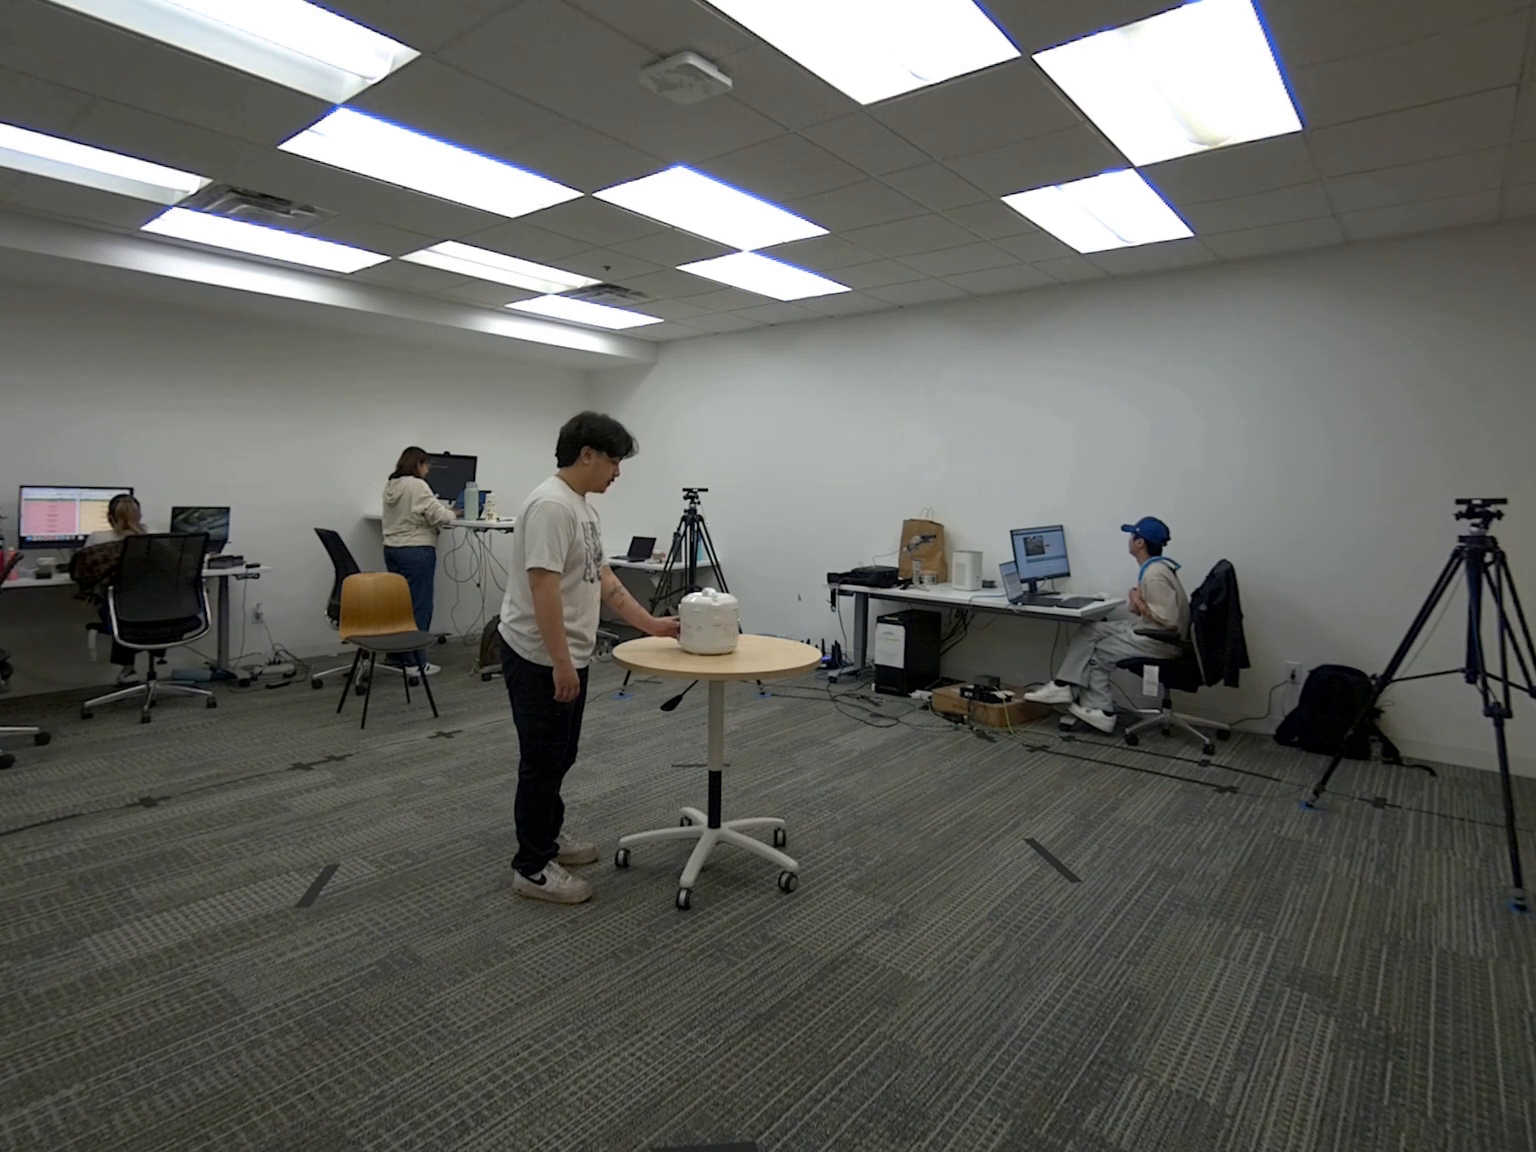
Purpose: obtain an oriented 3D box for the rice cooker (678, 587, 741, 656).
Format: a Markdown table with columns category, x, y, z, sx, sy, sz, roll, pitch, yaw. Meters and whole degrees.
| category | x | y | z | sx | sy | sz | roll | pitch | yaw |
| --- | --- | --- | --- | --- | --- | --- | --- | --- | --- |
| rice cooker | -0.221 | 0.157 | 3.103 | 0.214 | 0.232 | 0.225 | 0 | 4 | -16 |
